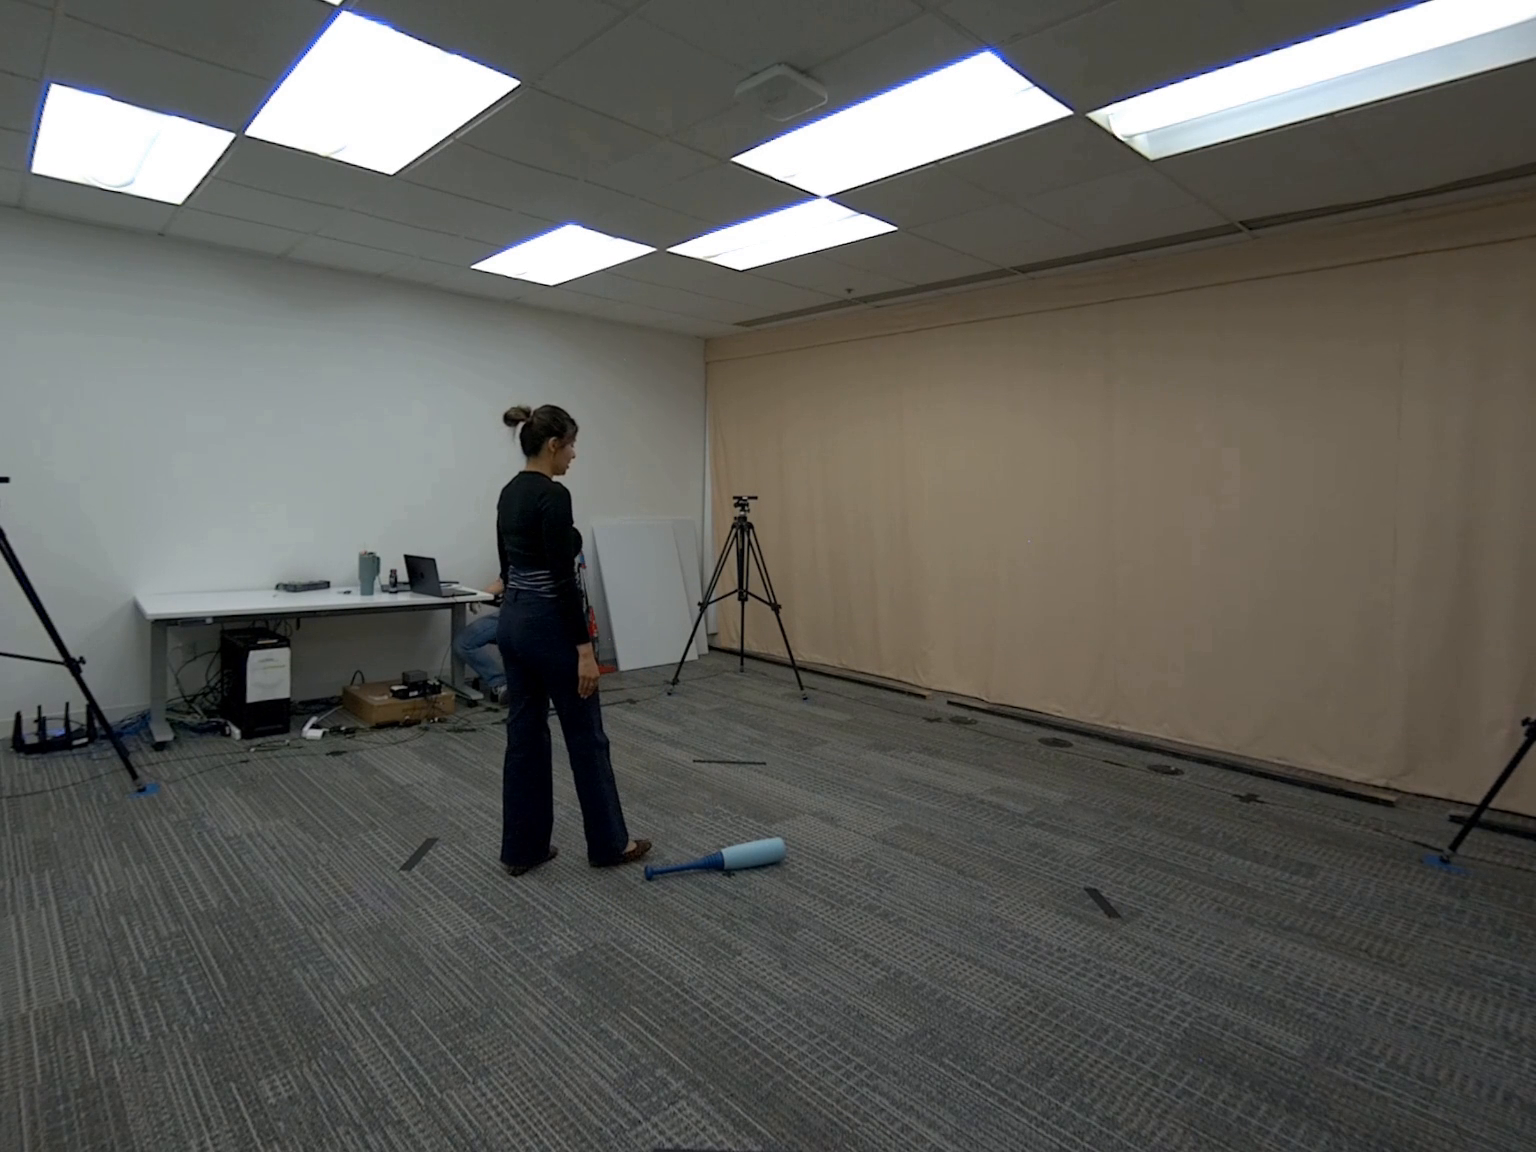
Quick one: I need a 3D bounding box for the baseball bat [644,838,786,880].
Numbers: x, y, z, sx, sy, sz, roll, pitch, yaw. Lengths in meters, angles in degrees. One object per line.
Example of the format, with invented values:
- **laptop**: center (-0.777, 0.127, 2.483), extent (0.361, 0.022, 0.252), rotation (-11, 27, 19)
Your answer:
- **baseball bat**: center (-0.198, 1.067, 3.131), extent (0.536, 0.089, 0.090), rotation (-5, 6, -18)
